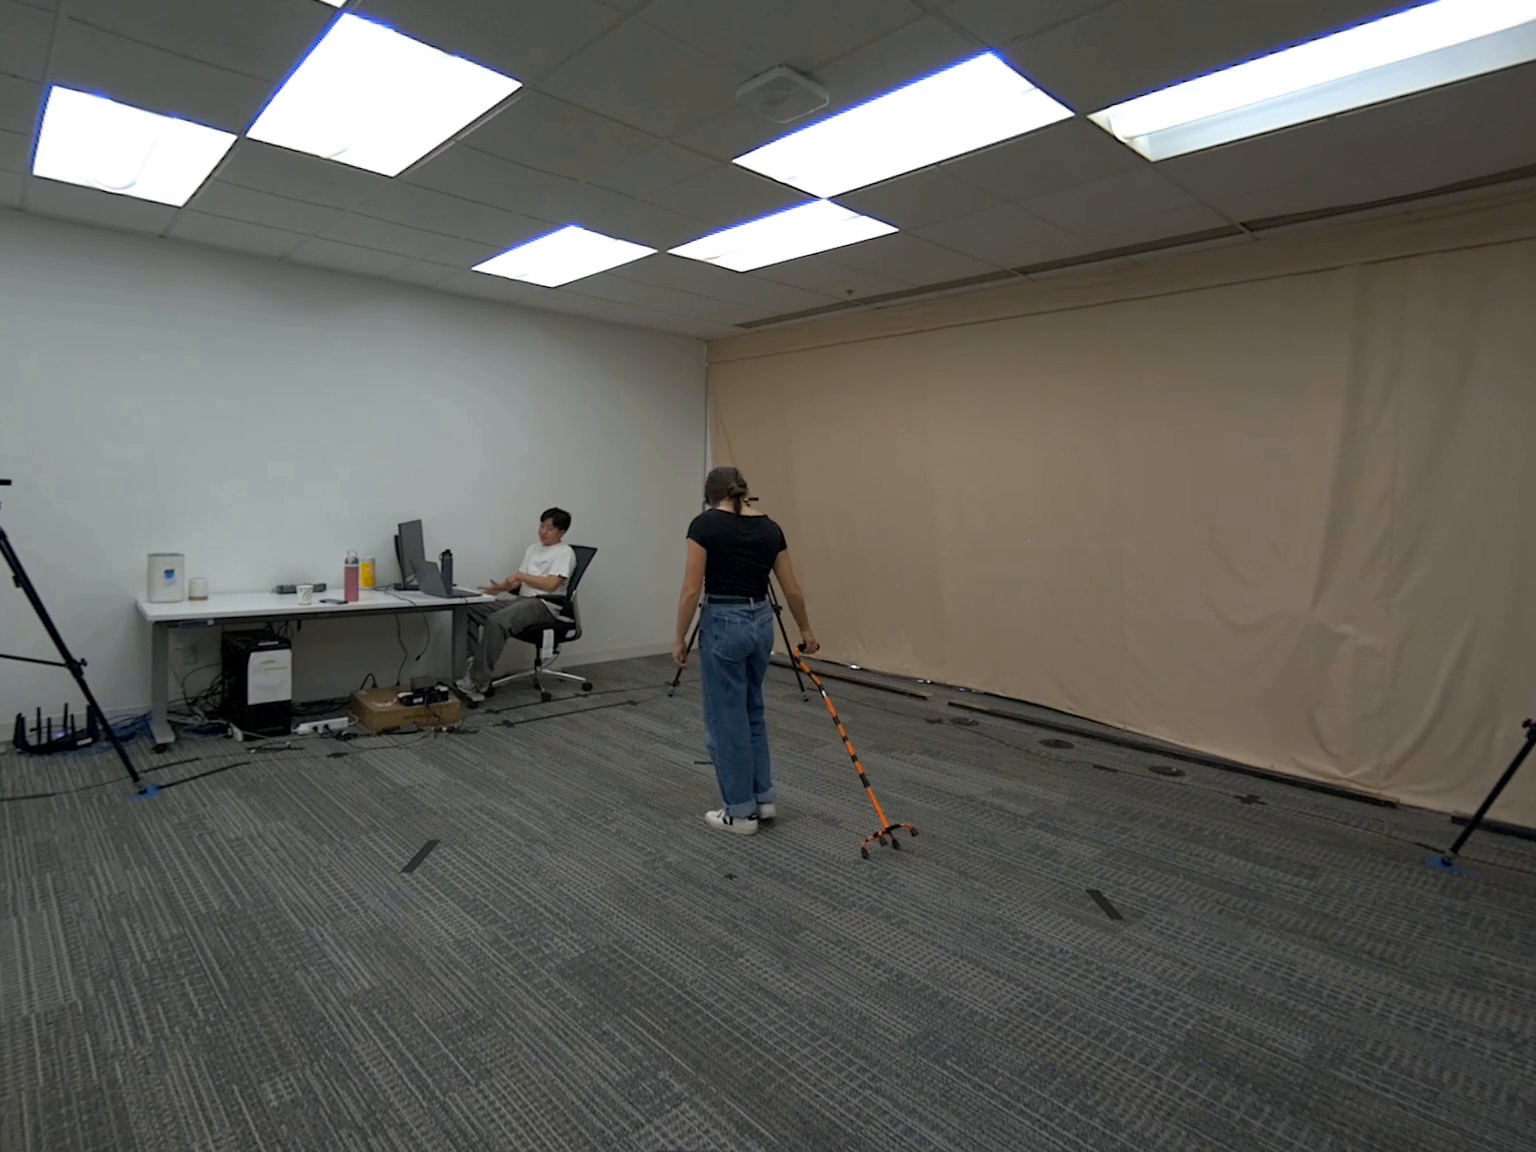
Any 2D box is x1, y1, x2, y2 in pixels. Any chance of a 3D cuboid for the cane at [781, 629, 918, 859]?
[{"bbox_3d":[0.305,0.690,3.518,0.202,0.931,0.151,1,-37,-38],"label":"cane"}]
